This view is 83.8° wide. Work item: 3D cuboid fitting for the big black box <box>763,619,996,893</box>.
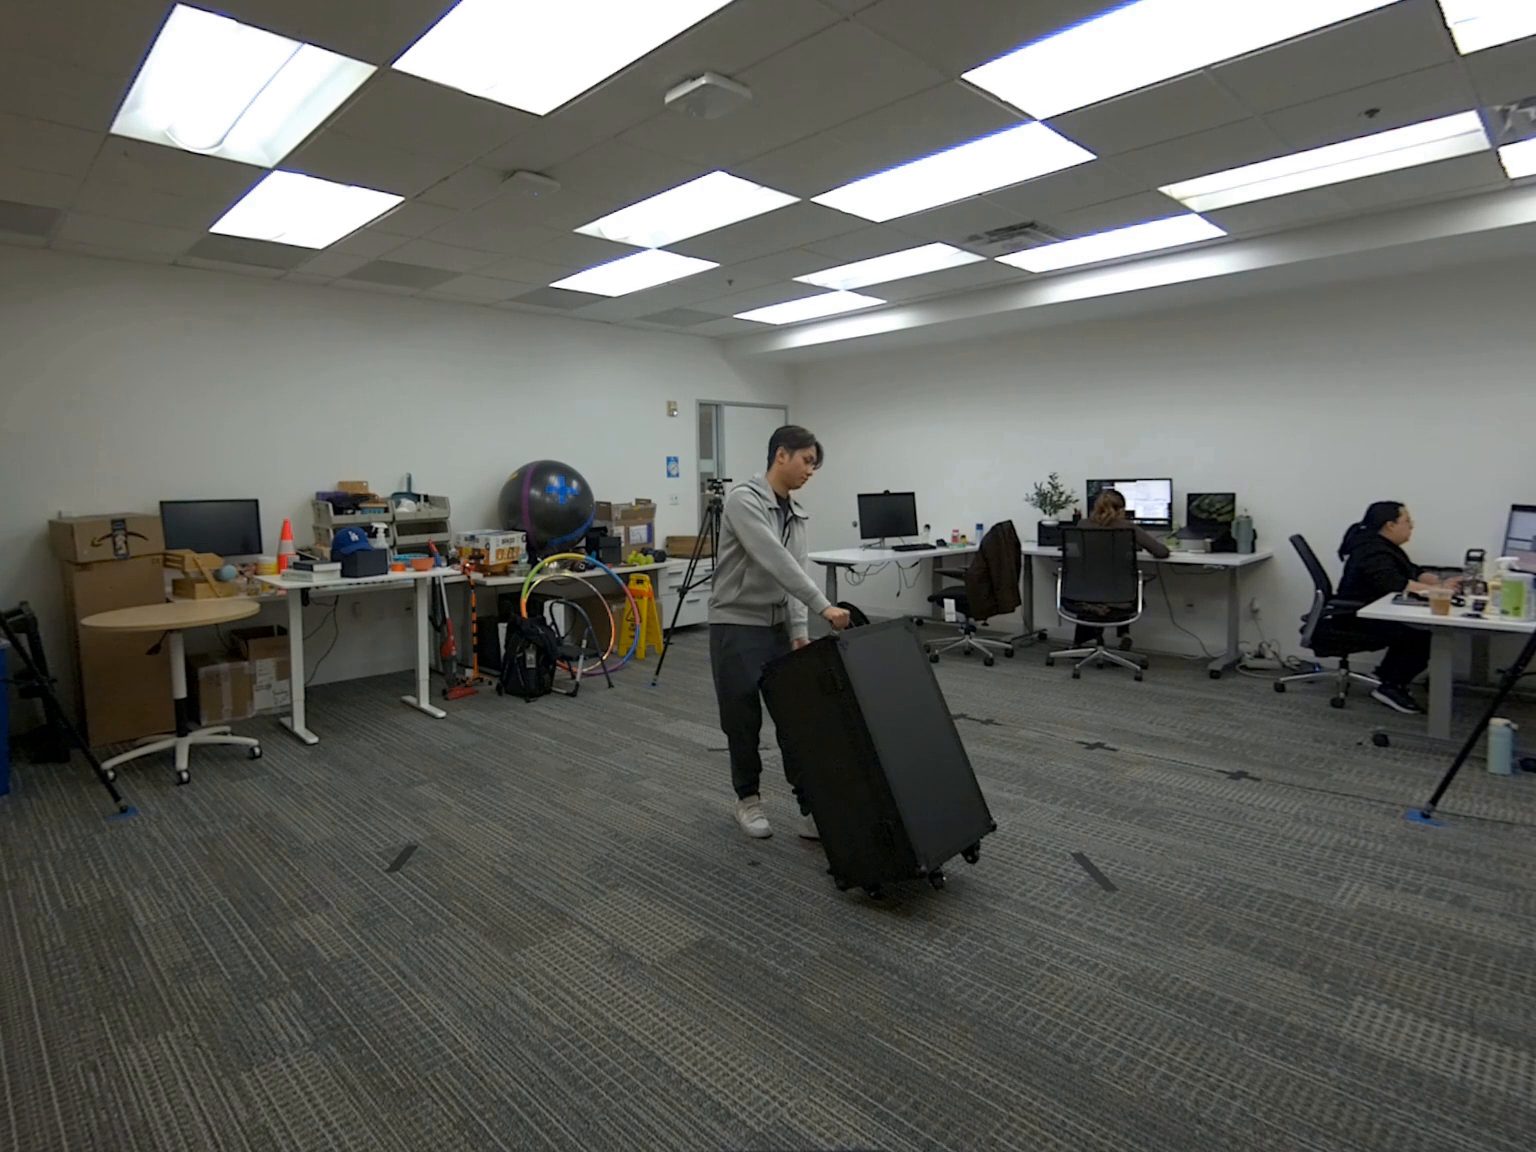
[{"bbox_3d":[0.381,0.625,2.951,0.508,0.875,0.400,-6,-19,-47],"label":"big black box"}]
